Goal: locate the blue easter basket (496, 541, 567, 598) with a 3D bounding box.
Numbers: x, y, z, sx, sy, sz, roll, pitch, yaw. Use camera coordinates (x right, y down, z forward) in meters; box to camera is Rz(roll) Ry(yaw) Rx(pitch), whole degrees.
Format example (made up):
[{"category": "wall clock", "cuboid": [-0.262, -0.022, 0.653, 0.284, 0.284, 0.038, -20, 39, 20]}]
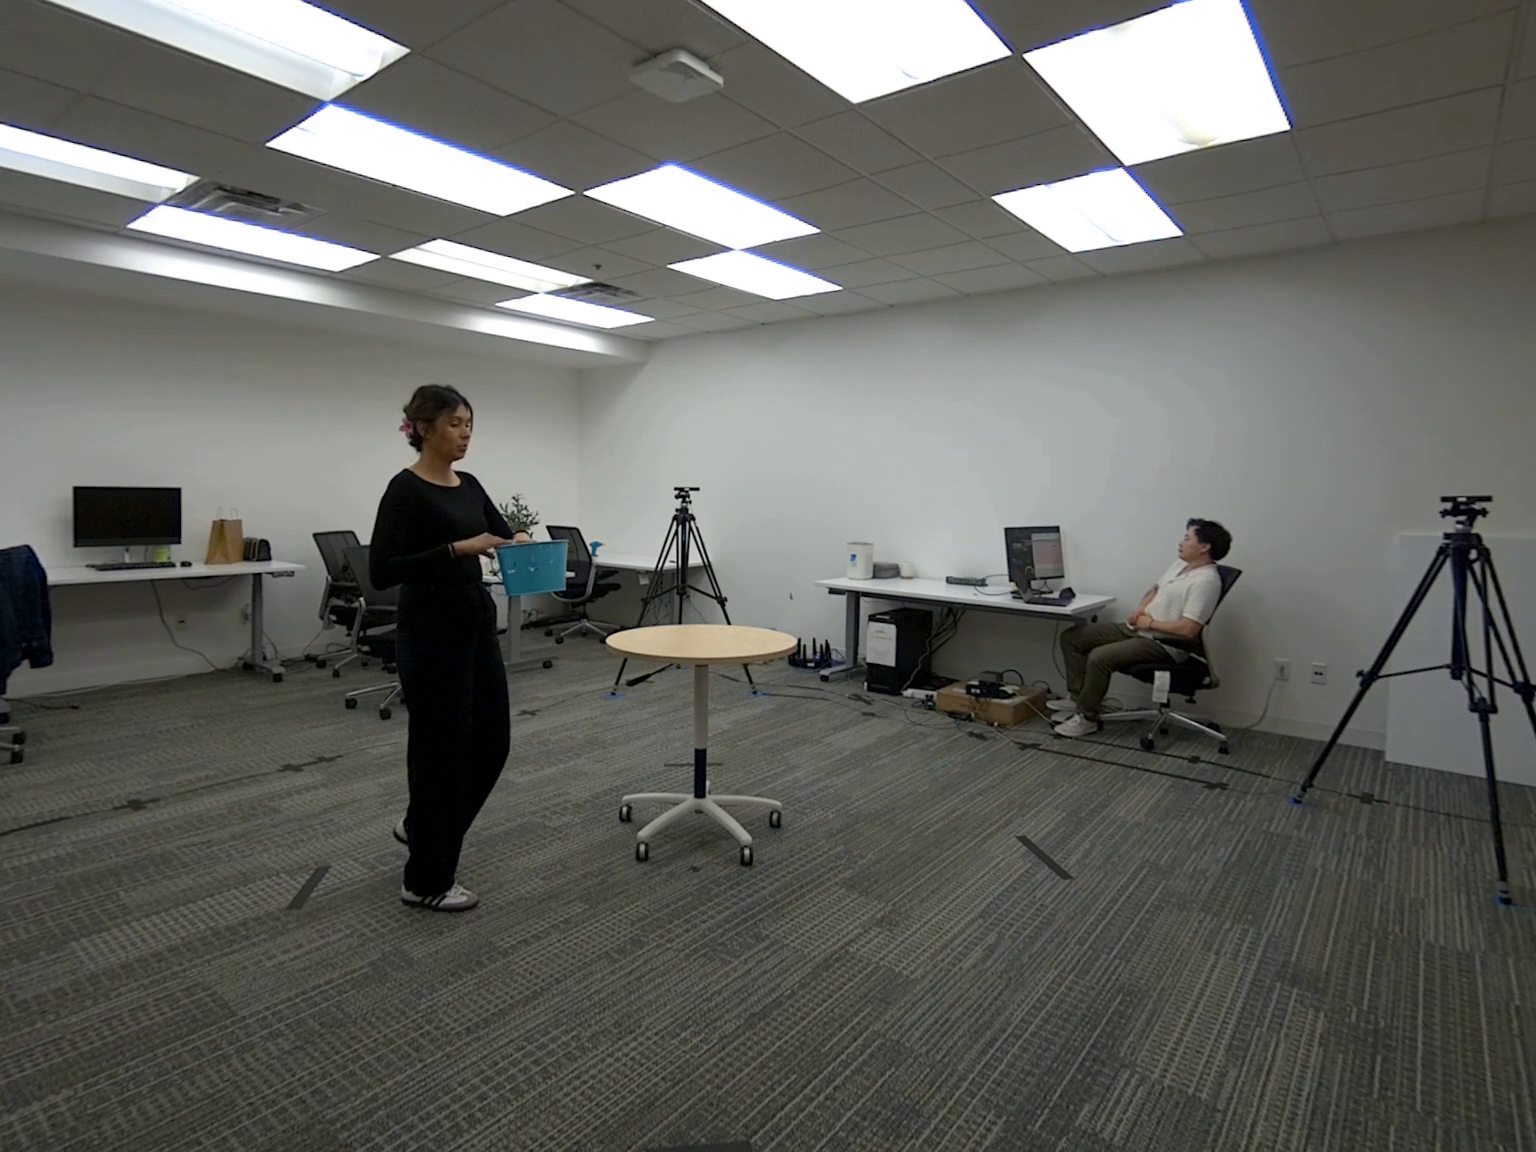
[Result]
[{"category": "blue easter basket", "cuboid": [-0.763, -0.025, 2.646, 0.243, 0.156, 0.244, -5, 2, -2]}]
